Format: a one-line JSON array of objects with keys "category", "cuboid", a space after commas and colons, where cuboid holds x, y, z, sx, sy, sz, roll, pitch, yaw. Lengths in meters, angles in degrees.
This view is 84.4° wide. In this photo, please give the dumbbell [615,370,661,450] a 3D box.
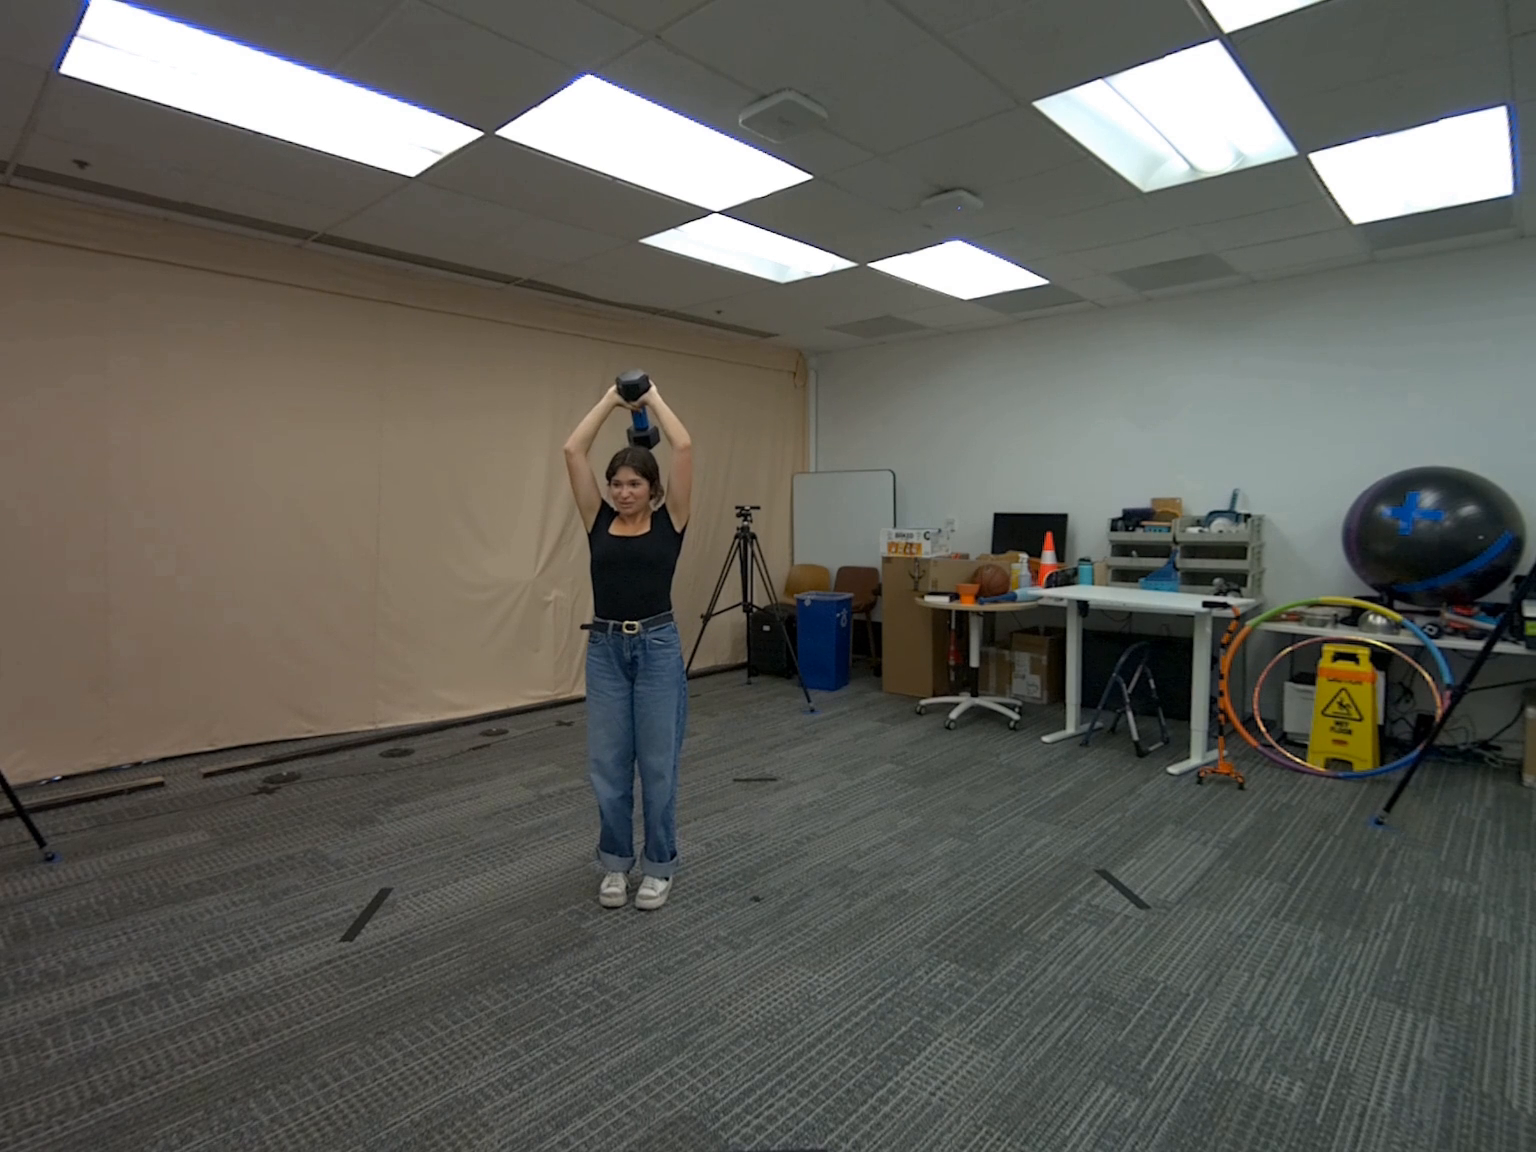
[{"category": "dumbbell", "cuboid": [-0.476, -0.601, 3.116, 0.112, 0.287, 0.122, 17, 45, 28]}]
